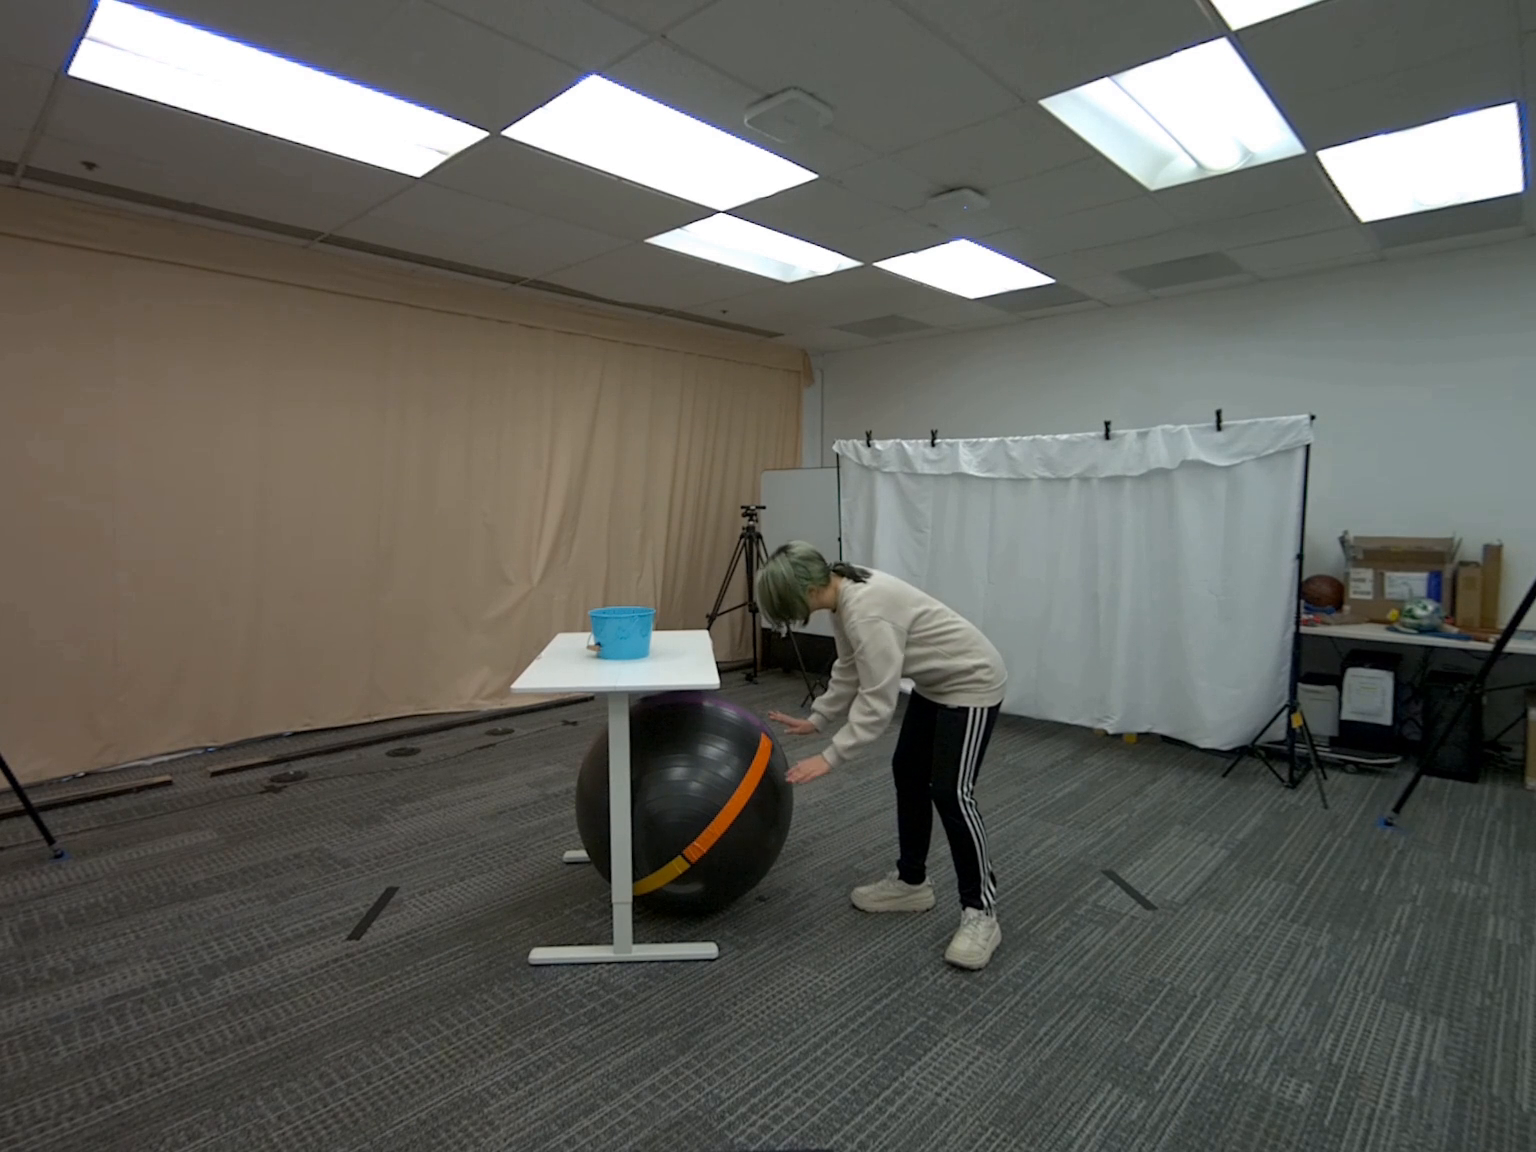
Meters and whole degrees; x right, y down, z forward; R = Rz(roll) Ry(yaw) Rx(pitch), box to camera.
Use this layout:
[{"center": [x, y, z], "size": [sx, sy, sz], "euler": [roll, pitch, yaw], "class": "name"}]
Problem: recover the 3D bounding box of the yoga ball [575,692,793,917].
[{"center": [-0.291, 0.779, 2.950], "size": [0.757, 0.756, 0.760], "euler": [0, 4, -2], "class": "yoga ball"}]
